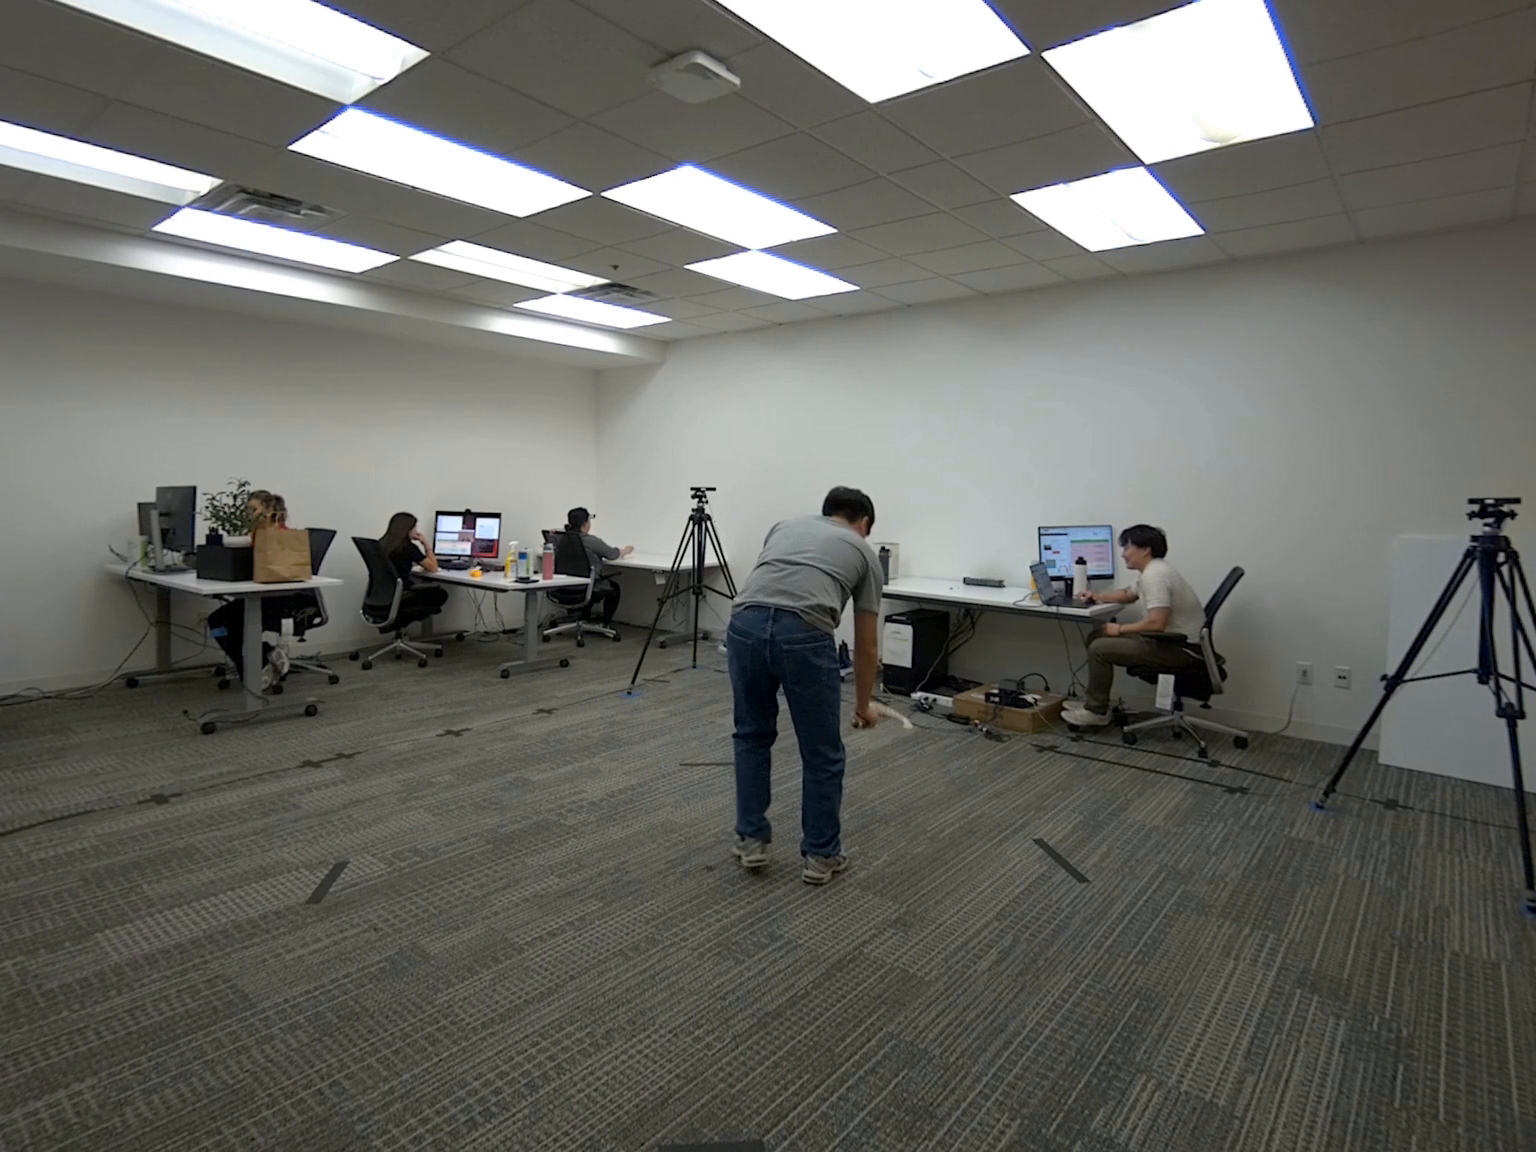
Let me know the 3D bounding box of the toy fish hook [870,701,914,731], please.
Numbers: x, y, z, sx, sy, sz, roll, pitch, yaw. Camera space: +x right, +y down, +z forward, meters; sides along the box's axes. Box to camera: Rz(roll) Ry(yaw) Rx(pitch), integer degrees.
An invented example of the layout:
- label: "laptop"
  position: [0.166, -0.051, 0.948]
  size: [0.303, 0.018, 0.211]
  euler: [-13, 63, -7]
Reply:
- label: "toy fish hook"
  position: [0.442, 0.550, 3.348]
  size: [0.230, 0.048, 0.496]
  euler: [17, 6, 18]
